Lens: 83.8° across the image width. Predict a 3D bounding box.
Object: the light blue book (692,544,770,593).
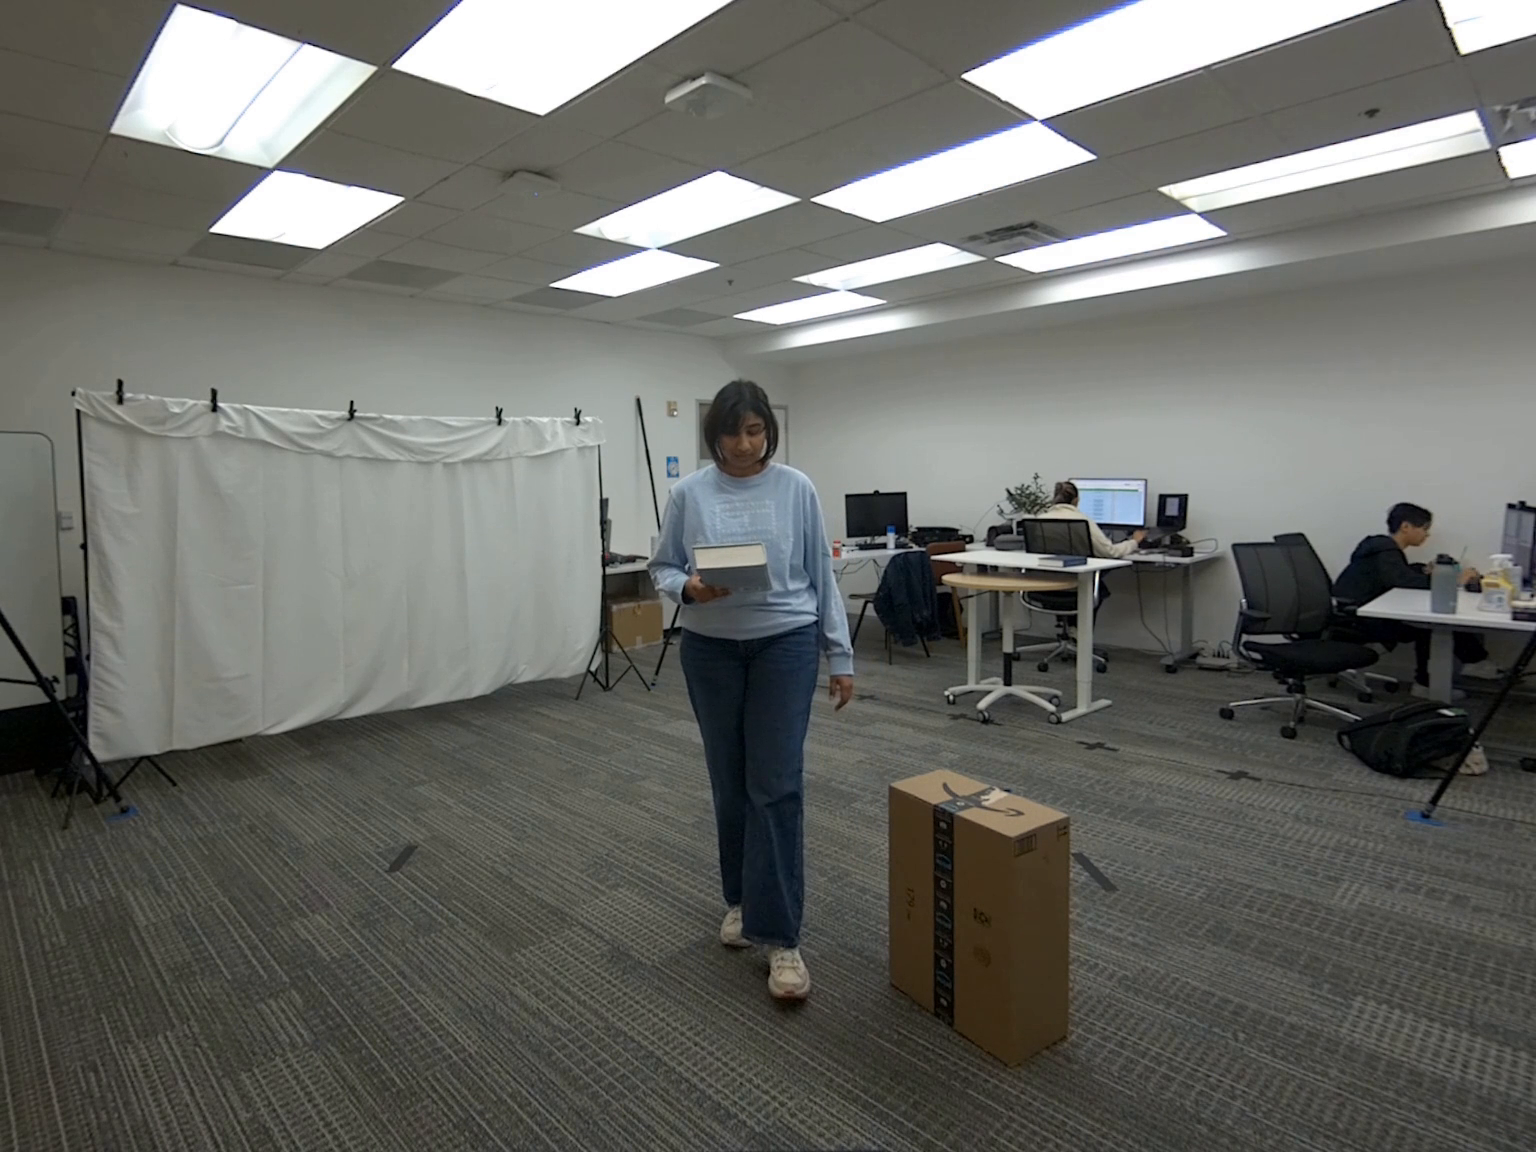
[{"bbox_3d":[-0.085,-0.016,2.306,0.192,0.060,0.255,-4,-17,4],"label":"light blue book"}]
